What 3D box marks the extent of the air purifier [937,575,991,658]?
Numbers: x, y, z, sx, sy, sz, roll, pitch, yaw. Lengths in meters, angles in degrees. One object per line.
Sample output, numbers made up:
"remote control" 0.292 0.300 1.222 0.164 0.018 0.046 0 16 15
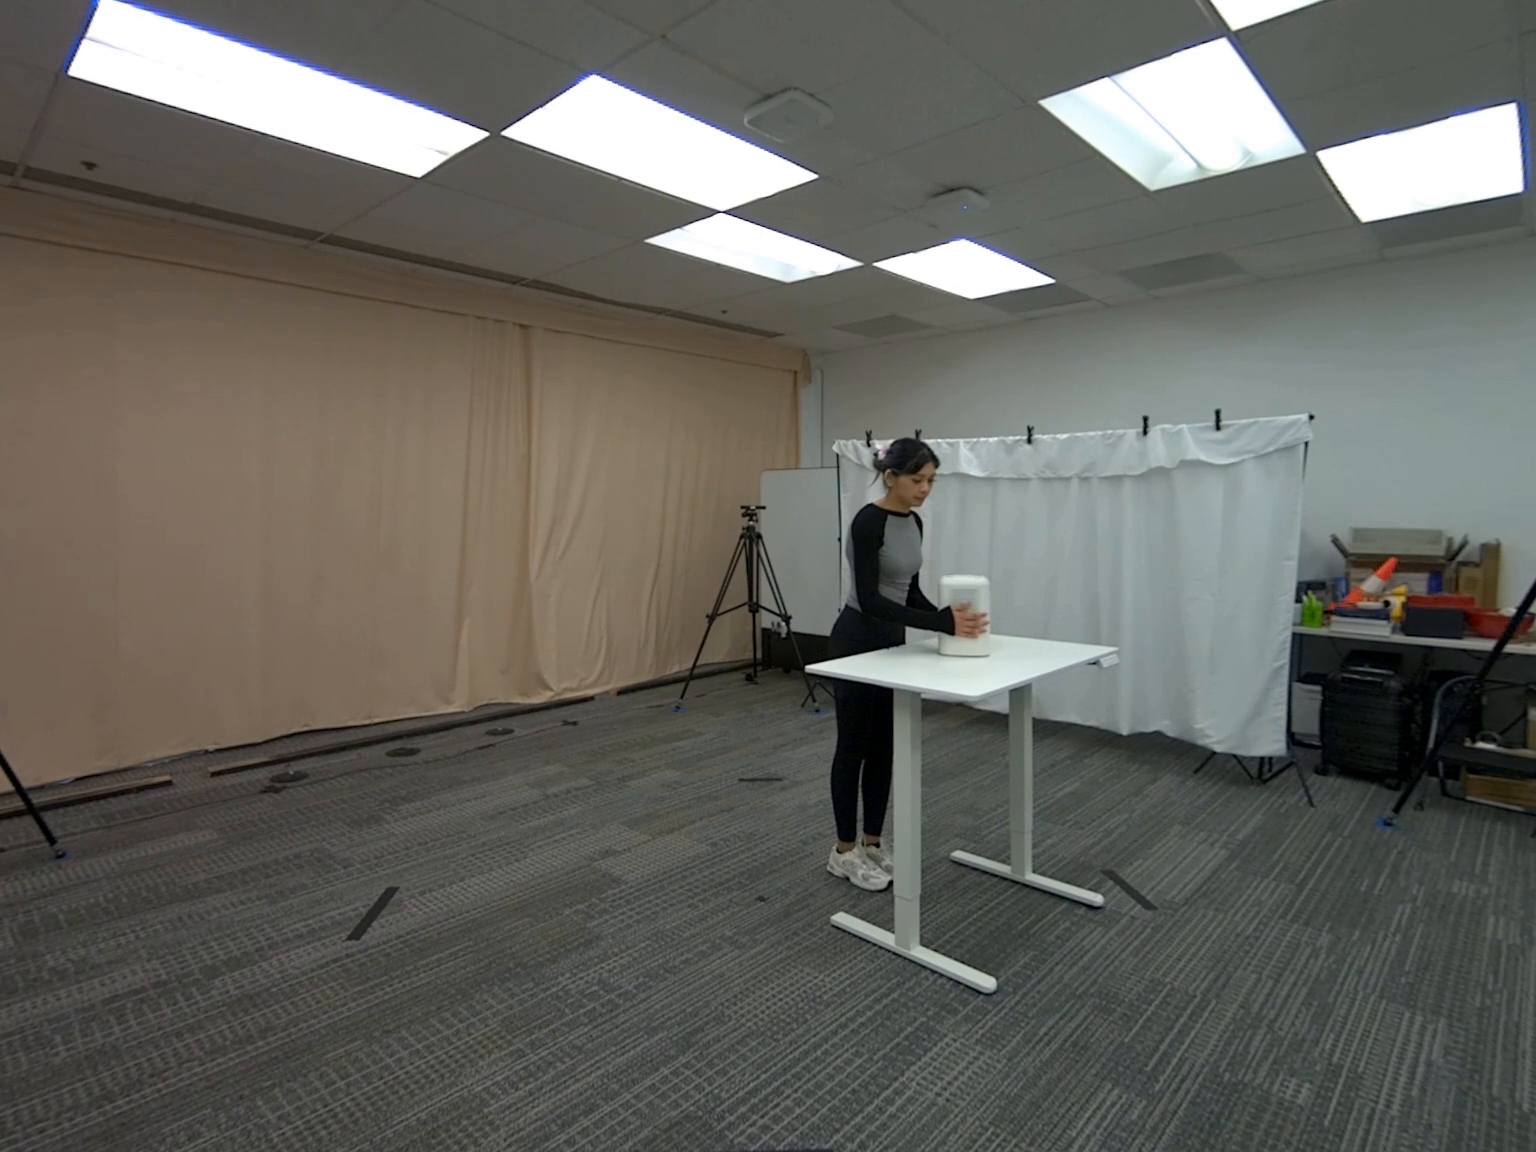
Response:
"air purifier" 0.681 0.134 2.895 0.174 0.265 0.169 -1 3 12
